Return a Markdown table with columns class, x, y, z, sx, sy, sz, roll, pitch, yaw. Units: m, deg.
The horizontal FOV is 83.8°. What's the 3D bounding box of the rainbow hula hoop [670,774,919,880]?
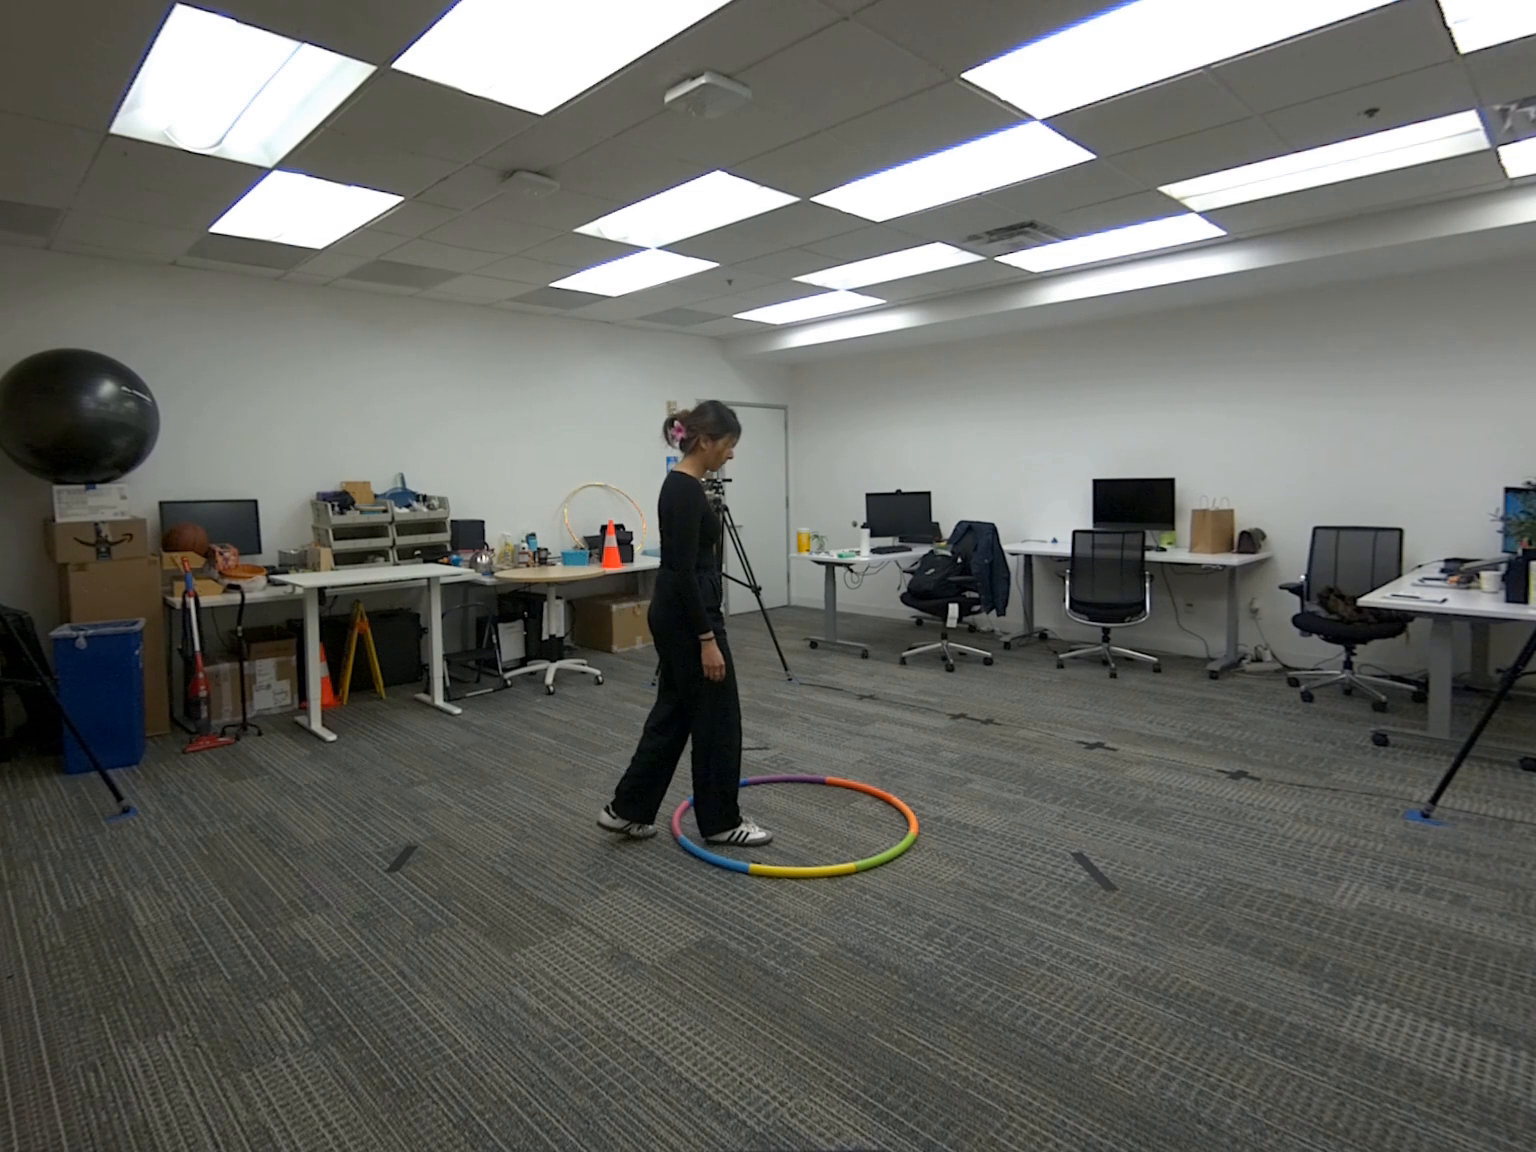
| class | x | y | z | sx | sy | sz | roll | pitch | yaw |
| --- | --- | --- | --- | --- | --- | --- | --- | --- | --- |
| rainbow hula hoop | 0.098 | 0.973 | 3.458 | 0.978 | 0.035 | 0.984 | -1 | 6 | -2 |
